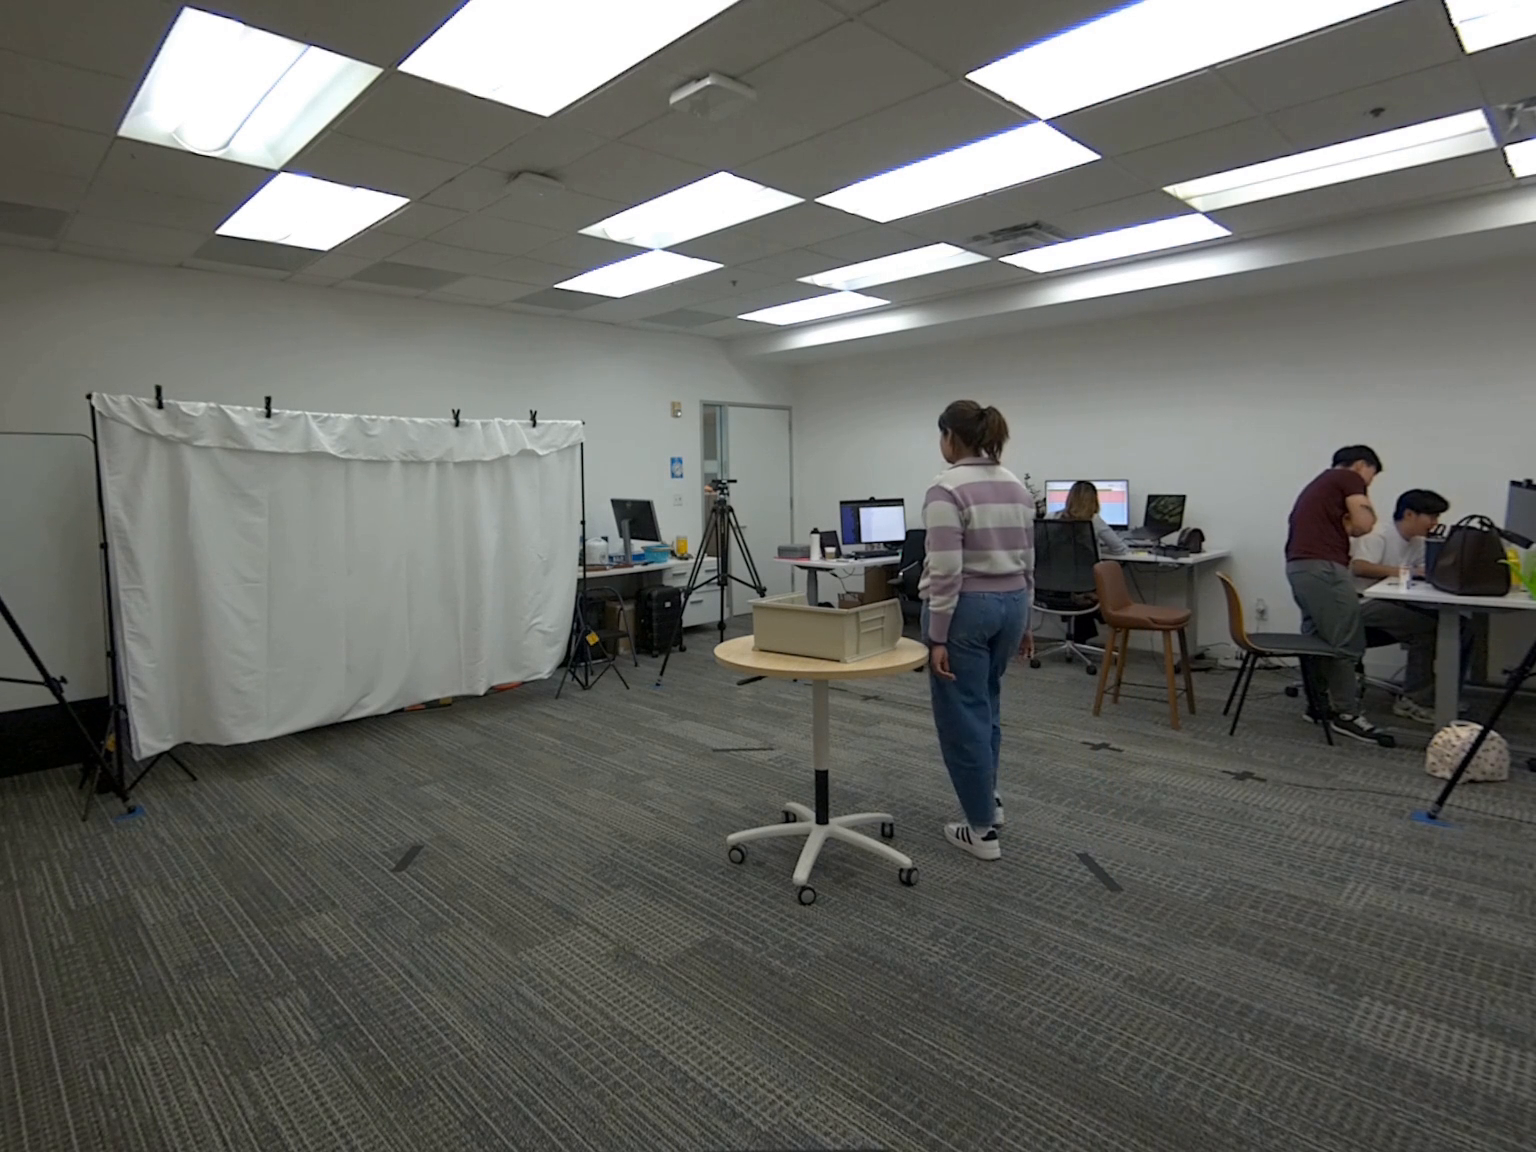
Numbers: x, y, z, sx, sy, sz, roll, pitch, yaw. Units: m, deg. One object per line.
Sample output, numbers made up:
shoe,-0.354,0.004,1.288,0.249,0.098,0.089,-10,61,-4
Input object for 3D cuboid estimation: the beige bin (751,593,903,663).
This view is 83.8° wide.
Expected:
beige bin,0.207,0.172,3.066,0.435,0.188,0.368,5,9,38
